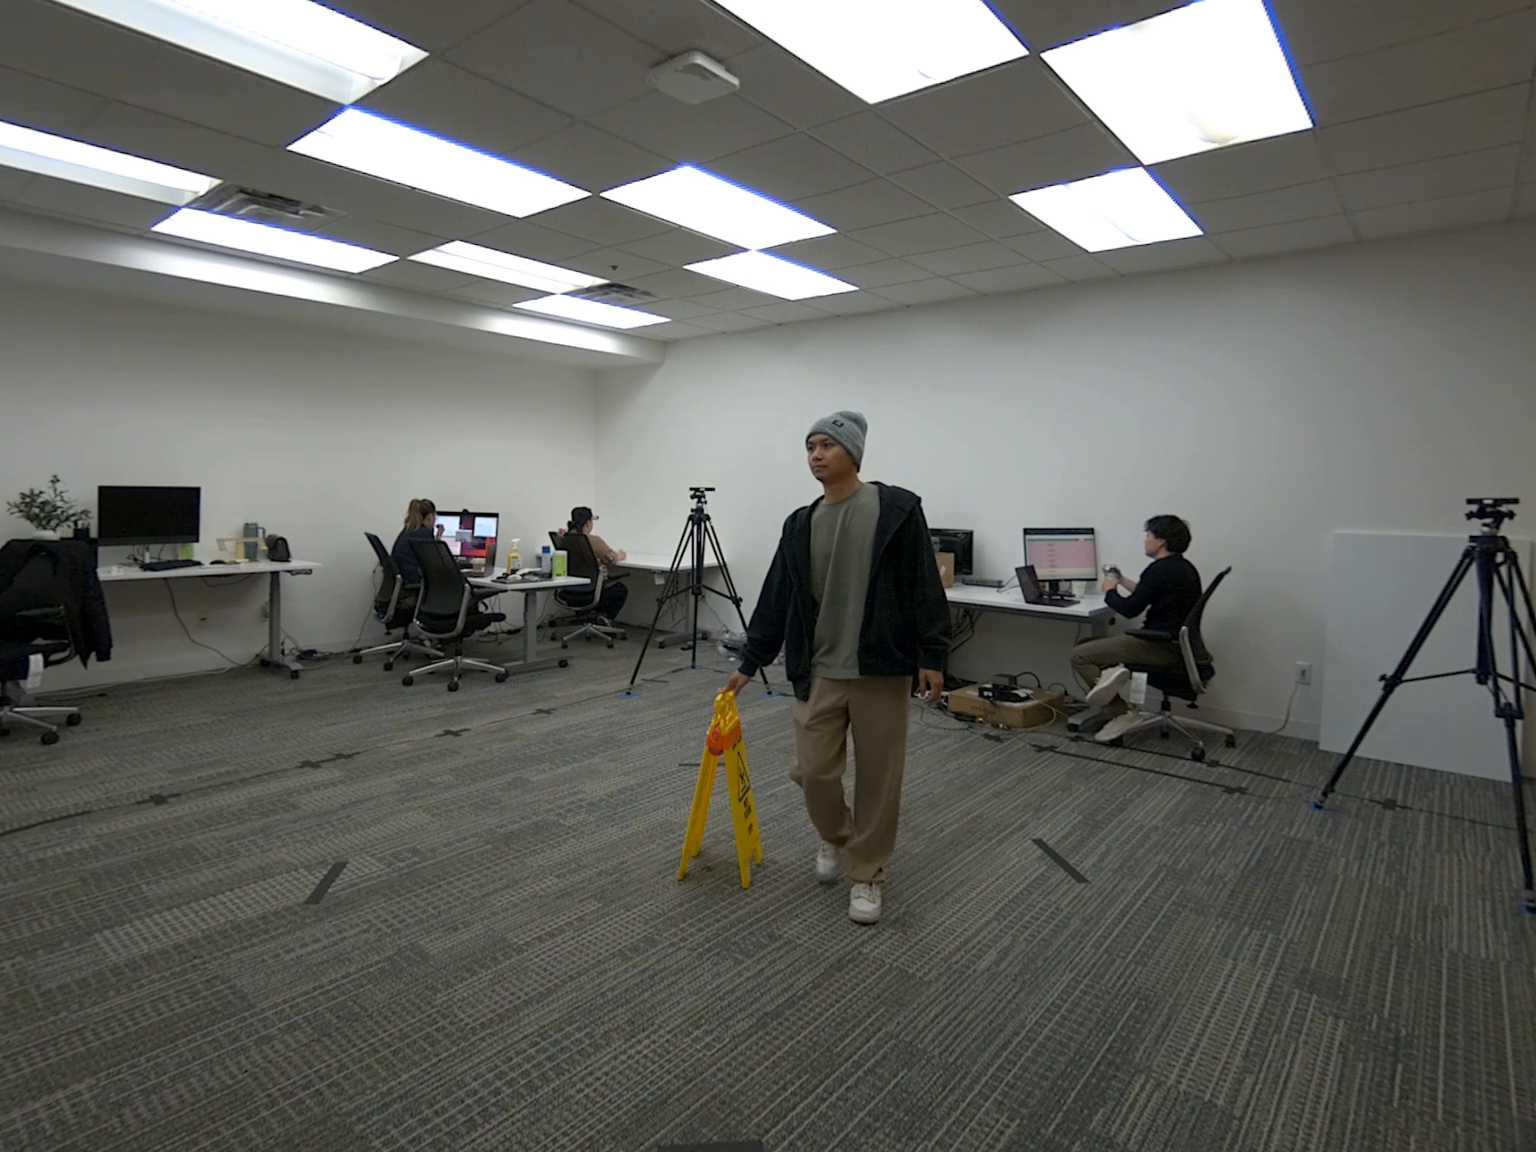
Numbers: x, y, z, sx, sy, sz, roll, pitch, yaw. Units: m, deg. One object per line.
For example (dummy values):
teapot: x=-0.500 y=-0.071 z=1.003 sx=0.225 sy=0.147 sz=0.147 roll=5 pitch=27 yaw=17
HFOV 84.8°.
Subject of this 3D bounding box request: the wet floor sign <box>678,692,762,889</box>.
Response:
wet floor sign: x=-0.169 y=0.747 z=3.094 sx=0.294 sy=0.644 sz=0.279 roll=2 pitch=4 yaw=11
